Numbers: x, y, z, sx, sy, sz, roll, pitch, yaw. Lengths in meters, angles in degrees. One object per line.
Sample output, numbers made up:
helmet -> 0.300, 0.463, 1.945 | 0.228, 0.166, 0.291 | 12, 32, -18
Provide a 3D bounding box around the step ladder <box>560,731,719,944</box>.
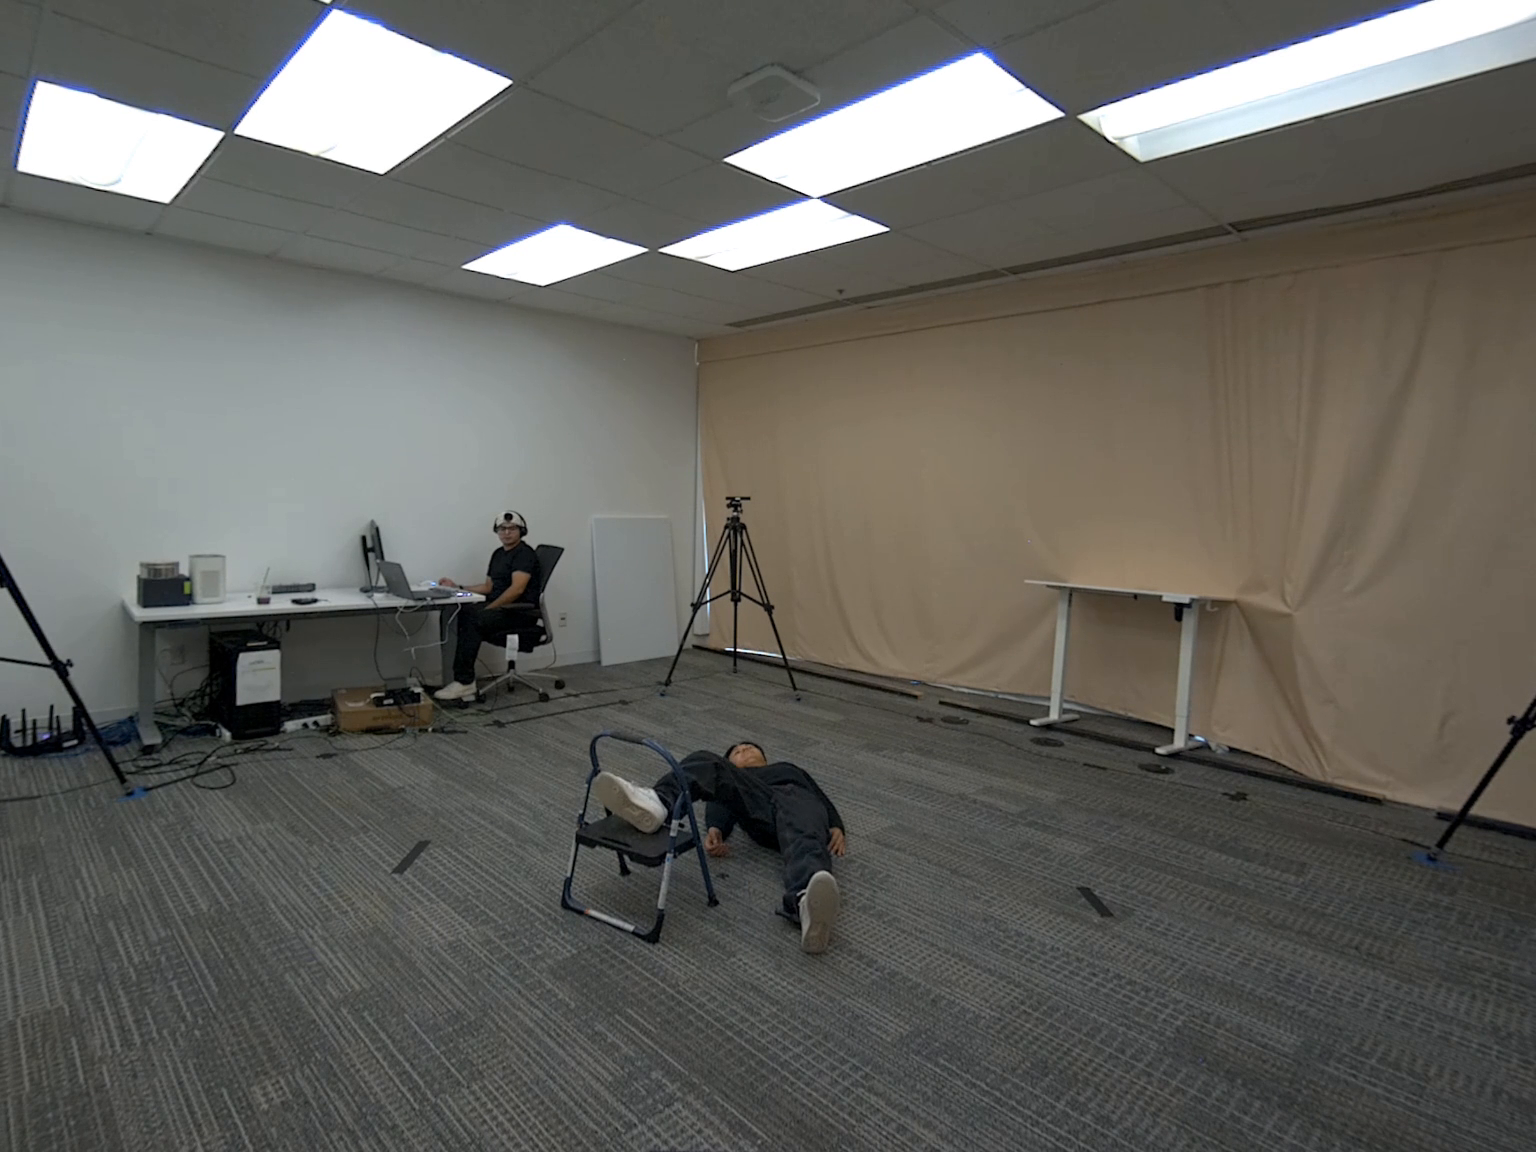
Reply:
step ladder -> -0.437, 0.820, 2.851 | 0.440, 0.605, 0.342 | 3, 4, 33
